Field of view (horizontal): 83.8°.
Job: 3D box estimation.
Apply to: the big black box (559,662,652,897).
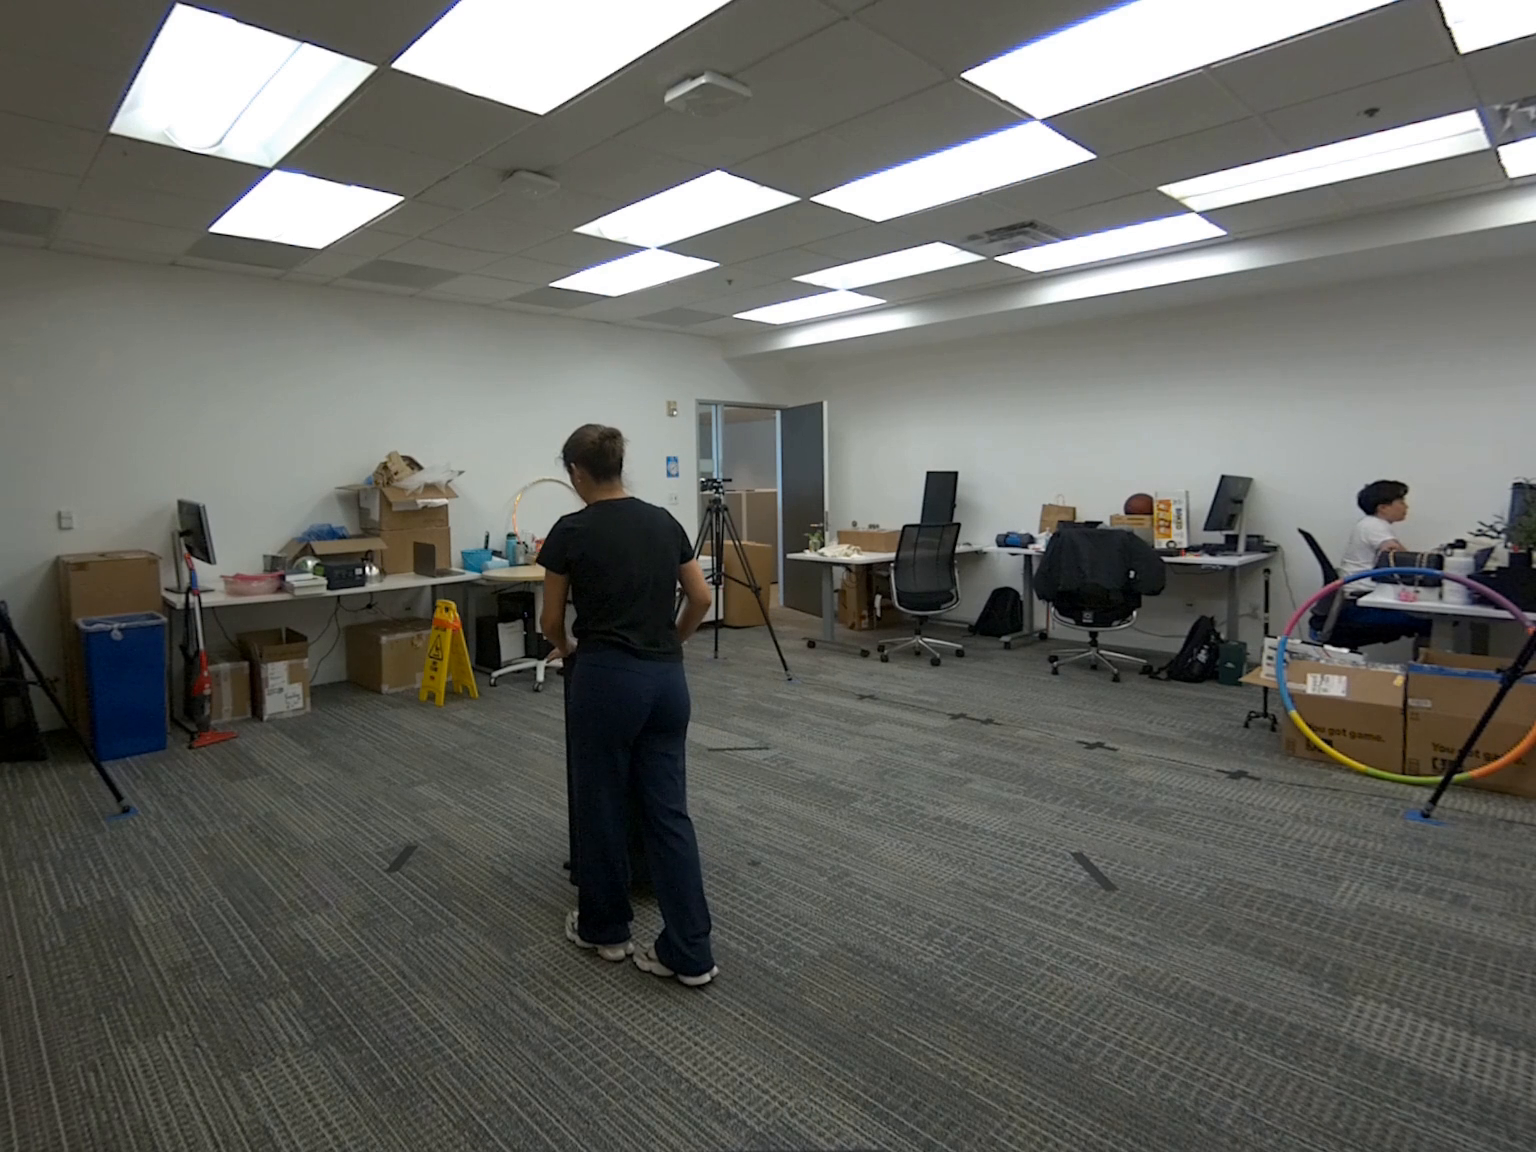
[{"bbox_3d":[-0.497,0.642,3.029,0.397,0.858,0.523,-1,5,0],"label":"big black box"}]
